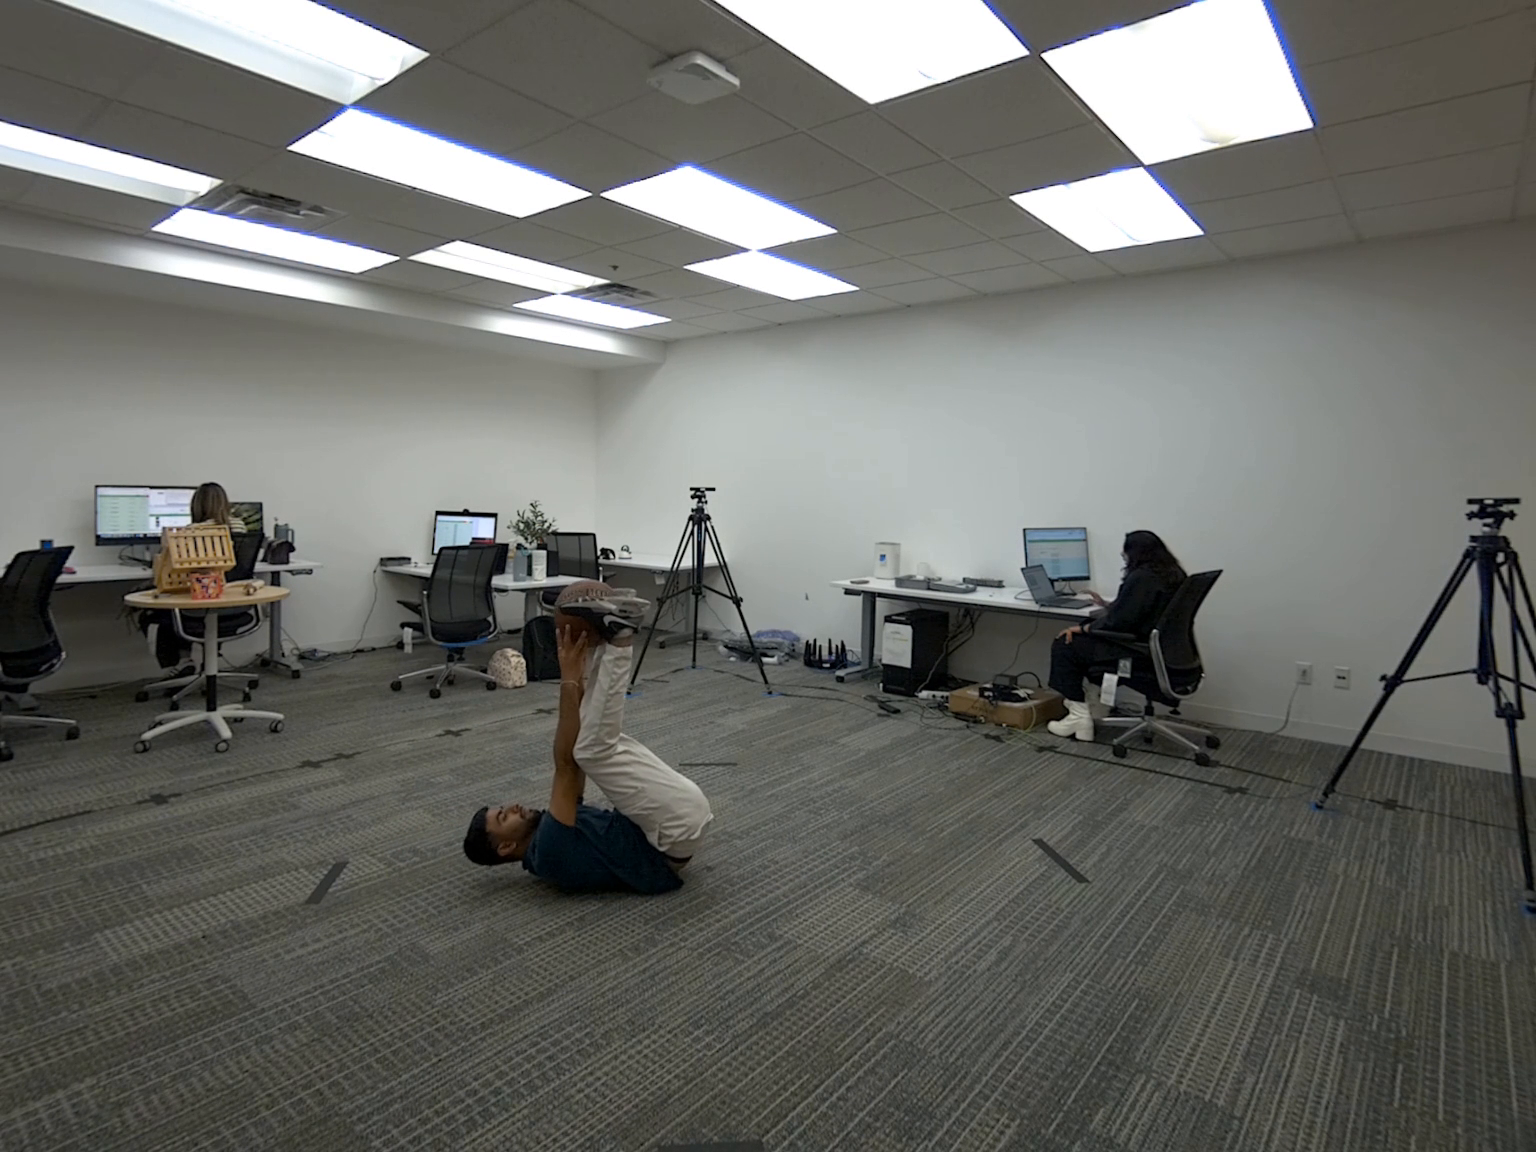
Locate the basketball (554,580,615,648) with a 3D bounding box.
[{"bbox_3d":[-0.630,0.131,2.990,0.235,0.235,0.237,1,4,-2],"label":"basketball"}]
